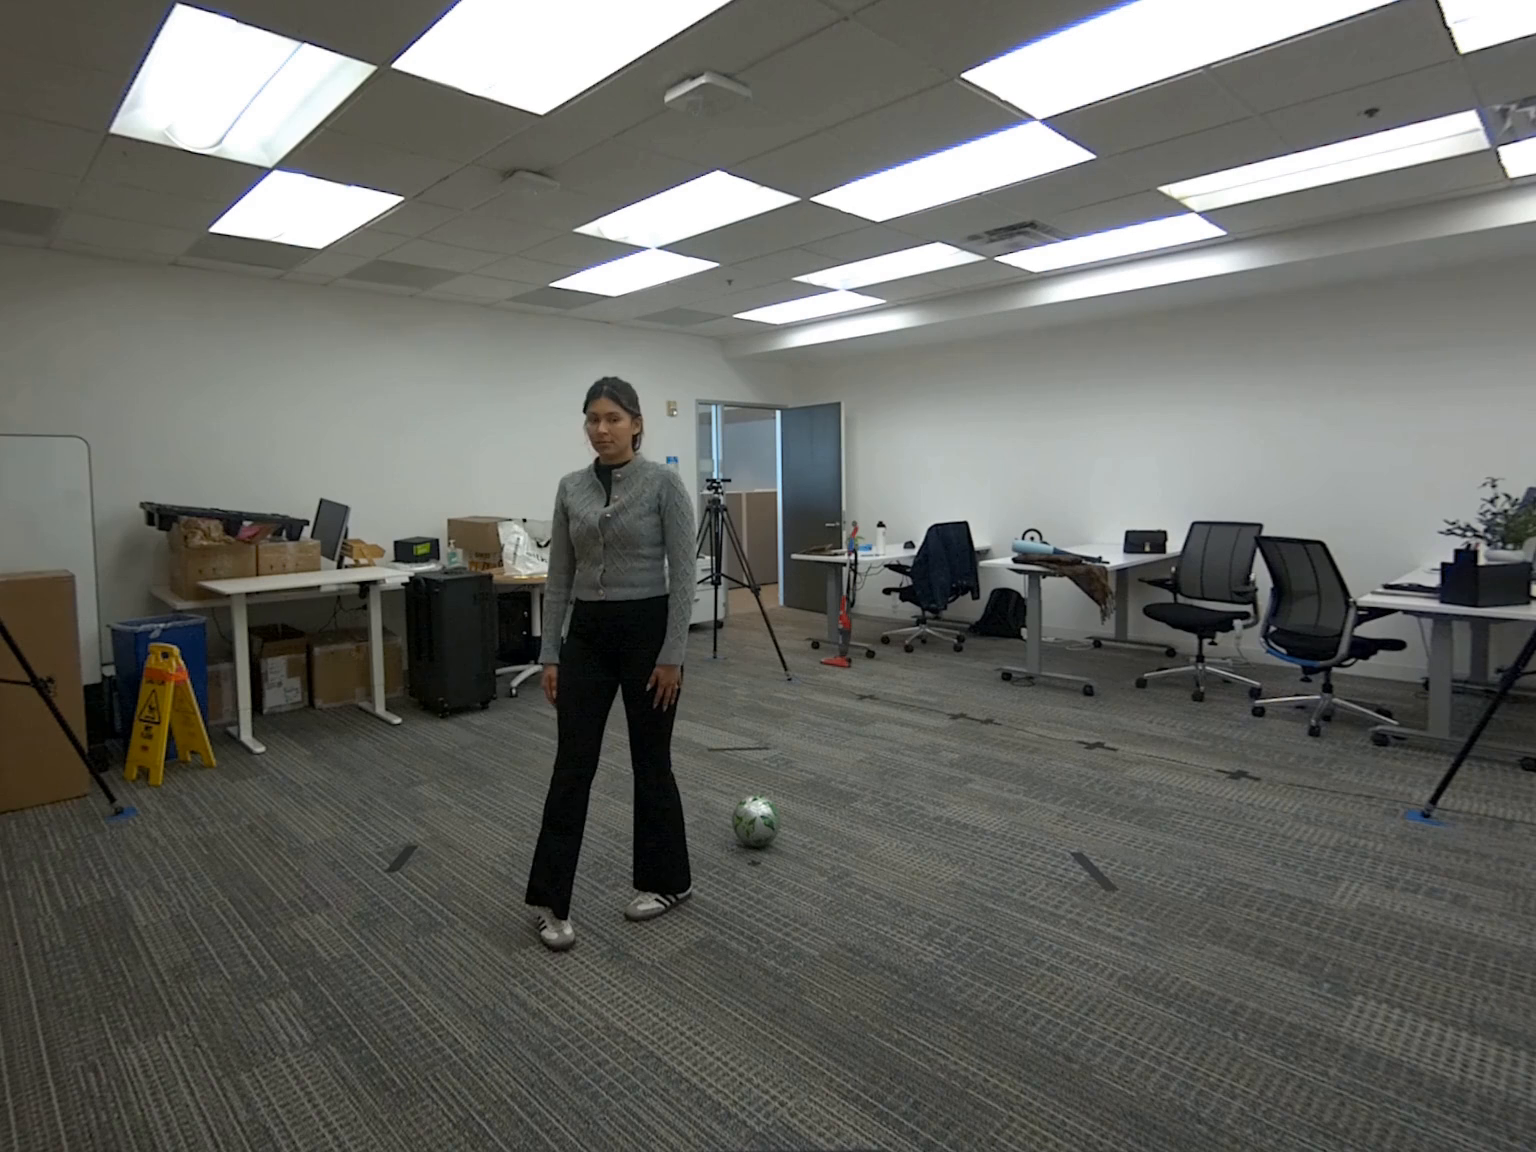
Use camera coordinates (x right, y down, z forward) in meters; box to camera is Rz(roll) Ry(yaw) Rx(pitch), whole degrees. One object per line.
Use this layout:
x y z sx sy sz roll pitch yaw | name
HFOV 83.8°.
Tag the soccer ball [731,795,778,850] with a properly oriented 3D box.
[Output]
-0.045 0.935 3.255 0.187 0.187 0.188 -1 5 -2 | soccer ball
